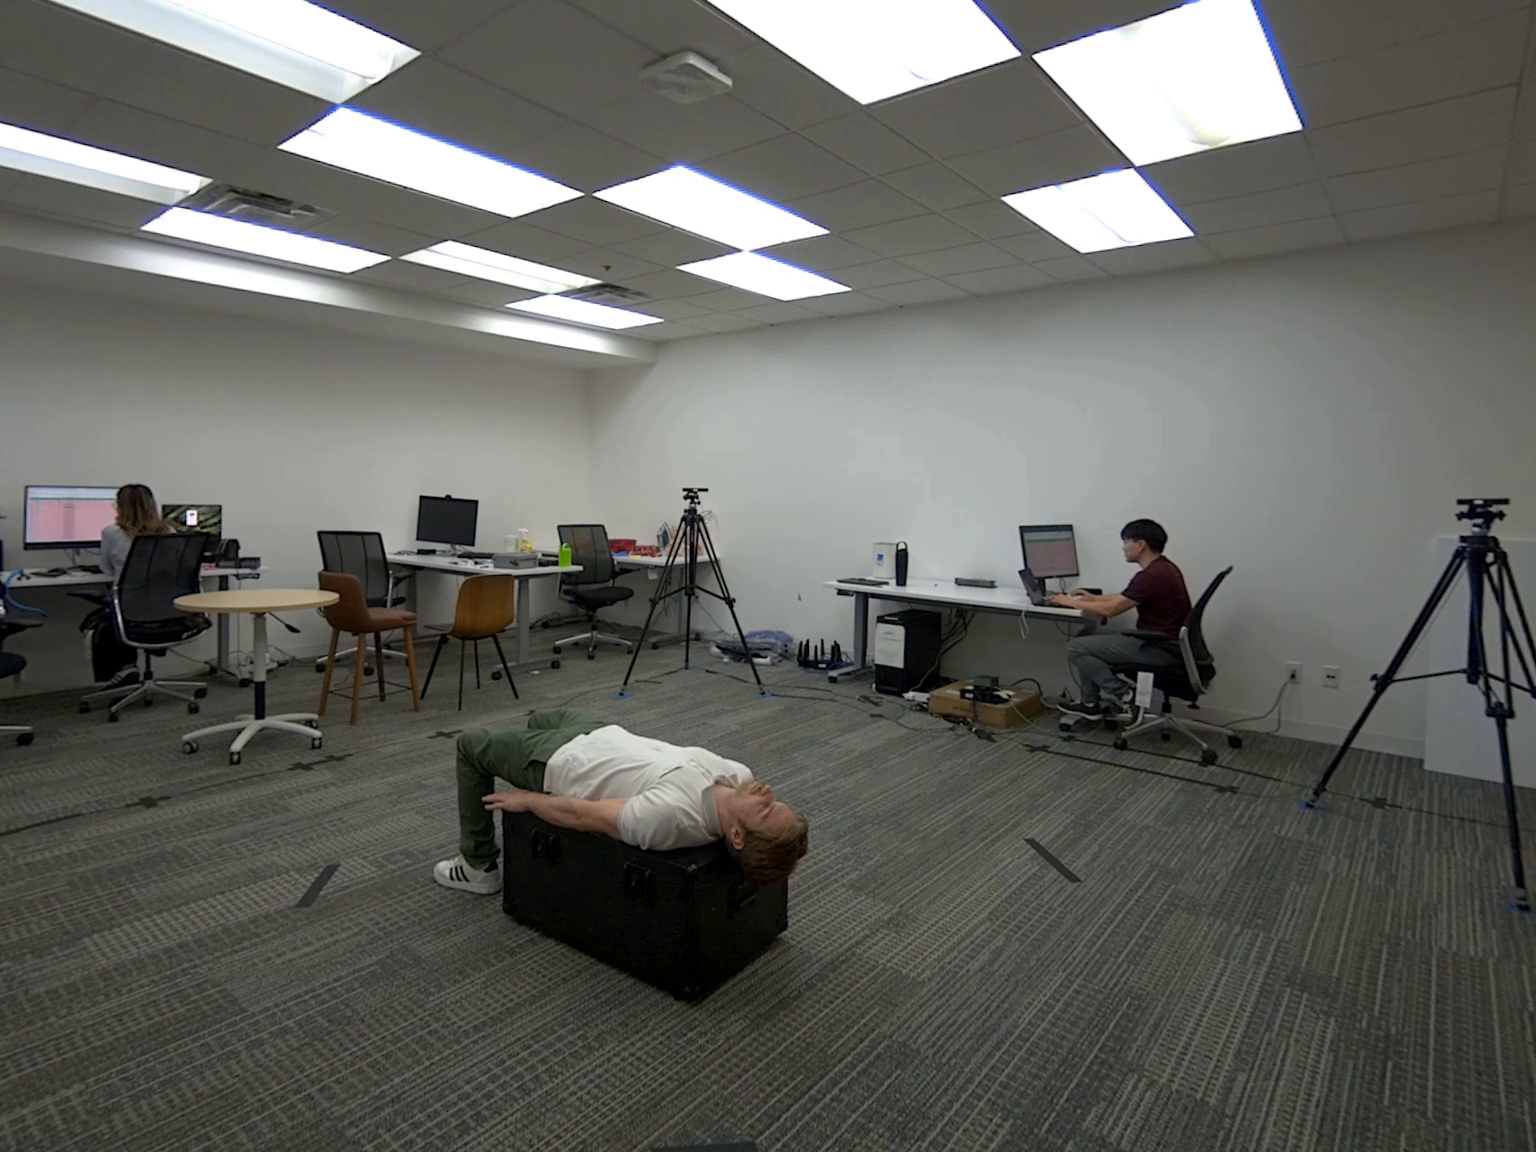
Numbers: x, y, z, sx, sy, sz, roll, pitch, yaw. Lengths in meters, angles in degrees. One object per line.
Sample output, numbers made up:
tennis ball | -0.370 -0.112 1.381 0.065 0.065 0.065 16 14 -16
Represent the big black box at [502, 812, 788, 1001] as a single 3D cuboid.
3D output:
big black box | -0.428 0.918 2.702 0.896 0.384 0.509 3 5 35
